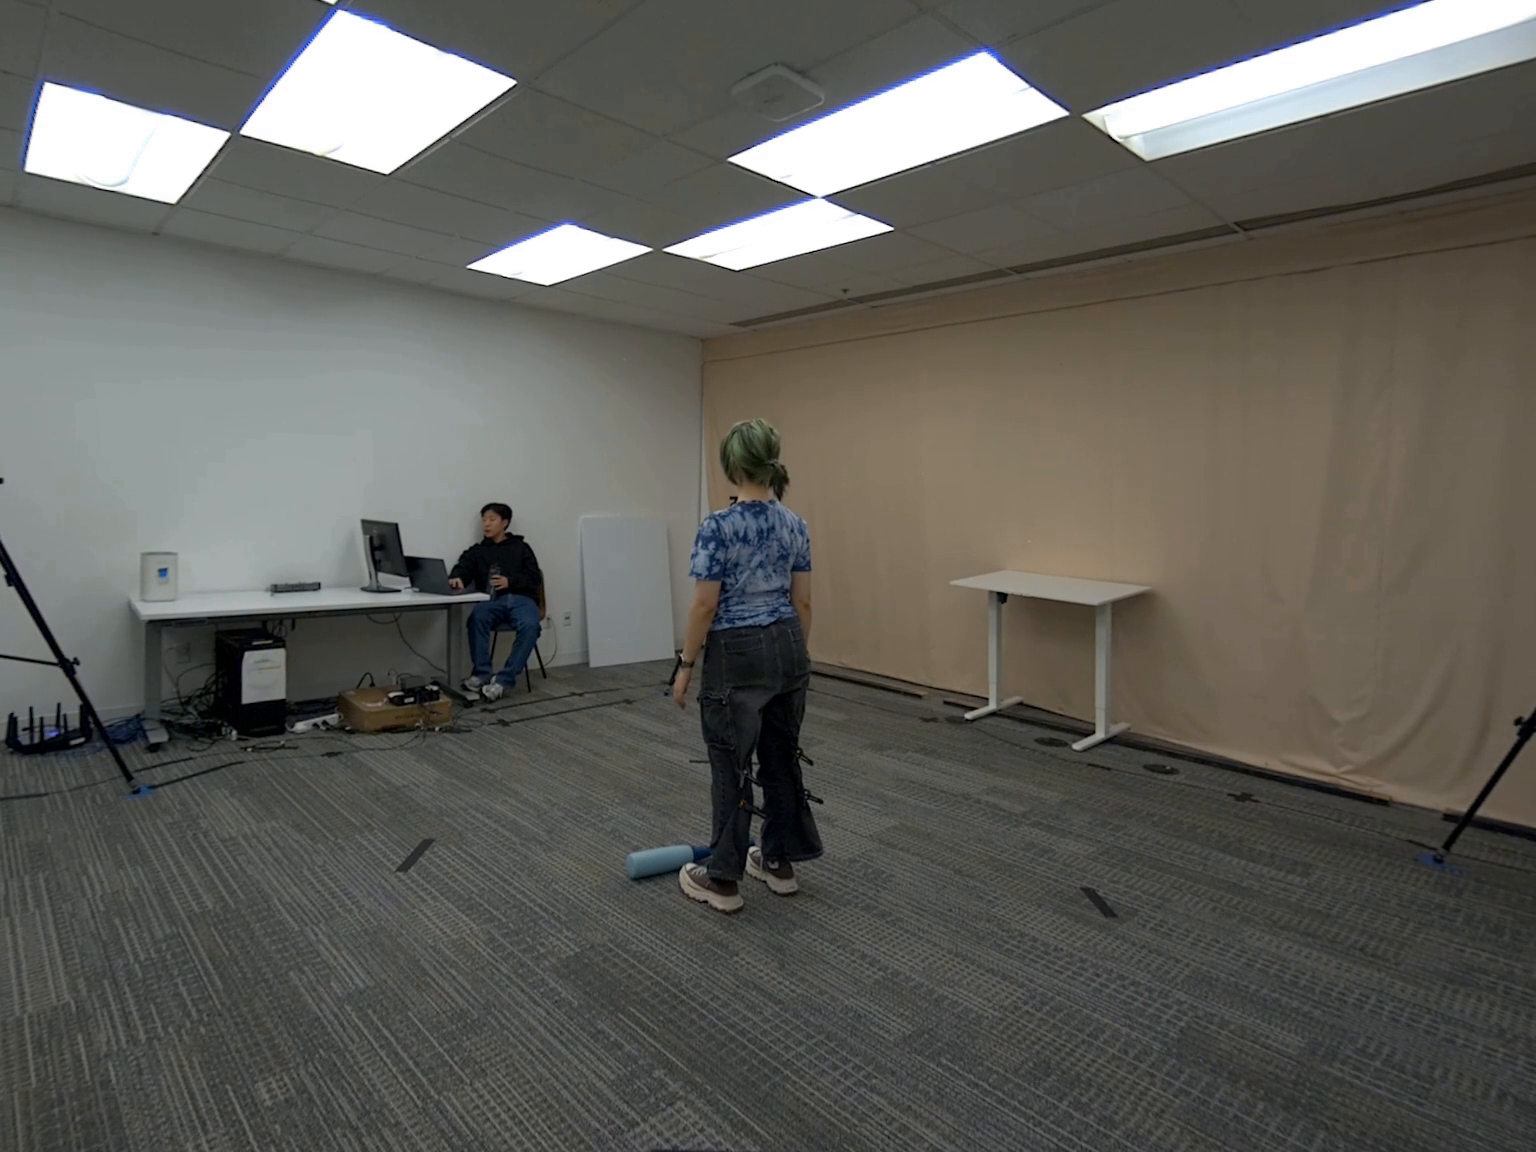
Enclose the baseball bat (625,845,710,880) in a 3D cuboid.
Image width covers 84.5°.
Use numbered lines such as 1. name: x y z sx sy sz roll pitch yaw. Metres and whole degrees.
1. baseball bat: -0.281 1.052 3.187 0.531 0.089 0.091 0 4 -31
